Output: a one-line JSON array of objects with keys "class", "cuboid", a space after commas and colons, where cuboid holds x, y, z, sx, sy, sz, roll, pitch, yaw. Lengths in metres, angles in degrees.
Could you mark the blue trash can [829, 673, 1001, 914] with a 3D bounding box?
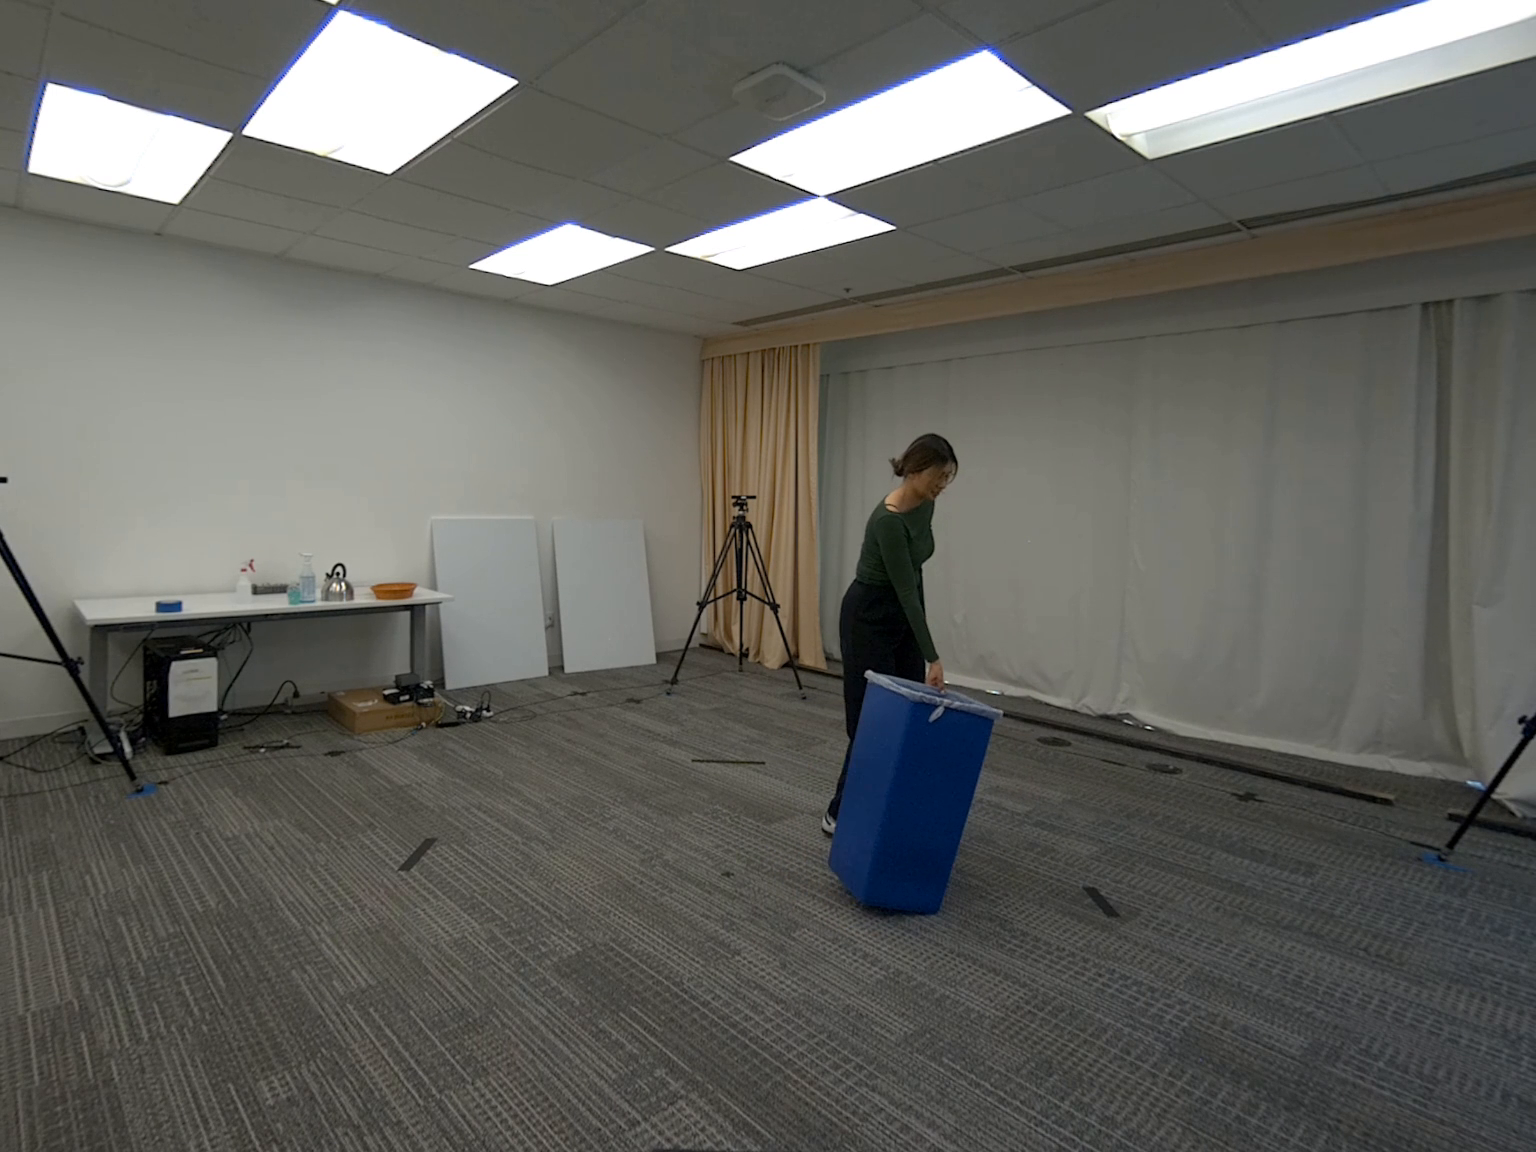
[{"class": "blue trash can", "cuboid": [0.477, 0.752, 2.935, 0.367, 0.714, 0.384, 16, -1, -20]}]
